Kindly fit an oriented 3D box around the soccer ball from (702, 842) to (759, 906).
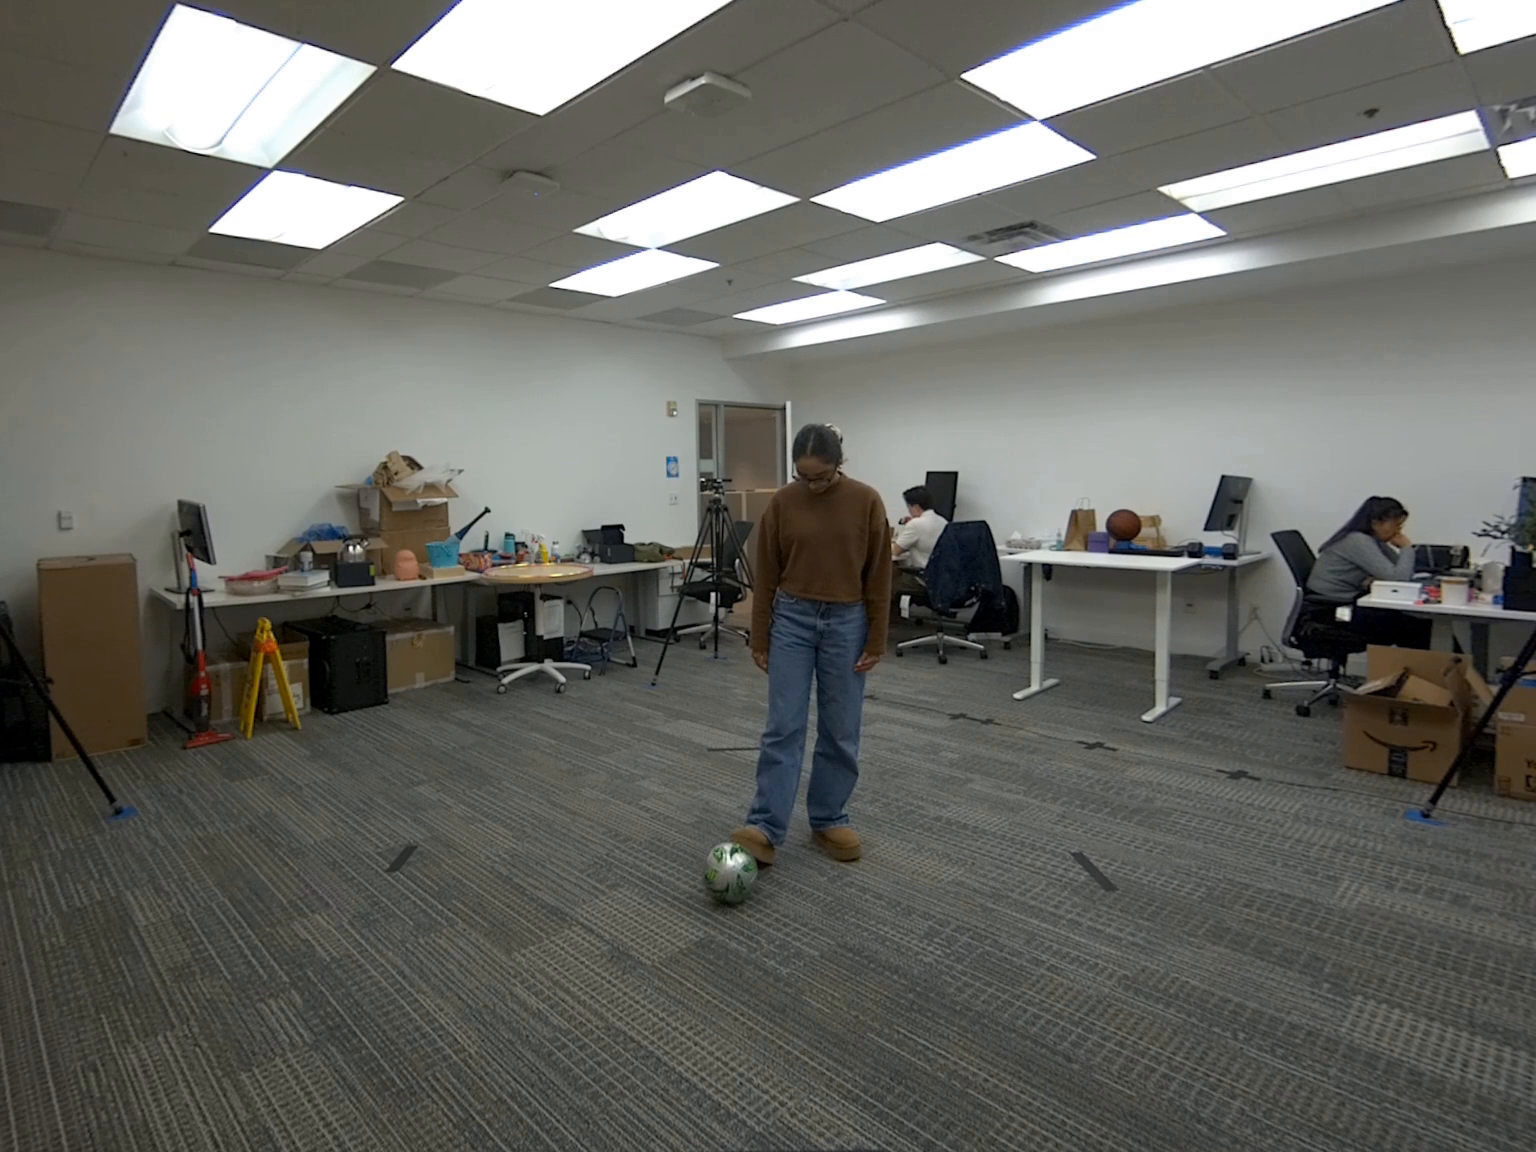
[{"bbox_3d":[-0.124,0.988,2.826,0.187,0.187,0.188,-1,5,-2],"label":"soccer ball"}]
